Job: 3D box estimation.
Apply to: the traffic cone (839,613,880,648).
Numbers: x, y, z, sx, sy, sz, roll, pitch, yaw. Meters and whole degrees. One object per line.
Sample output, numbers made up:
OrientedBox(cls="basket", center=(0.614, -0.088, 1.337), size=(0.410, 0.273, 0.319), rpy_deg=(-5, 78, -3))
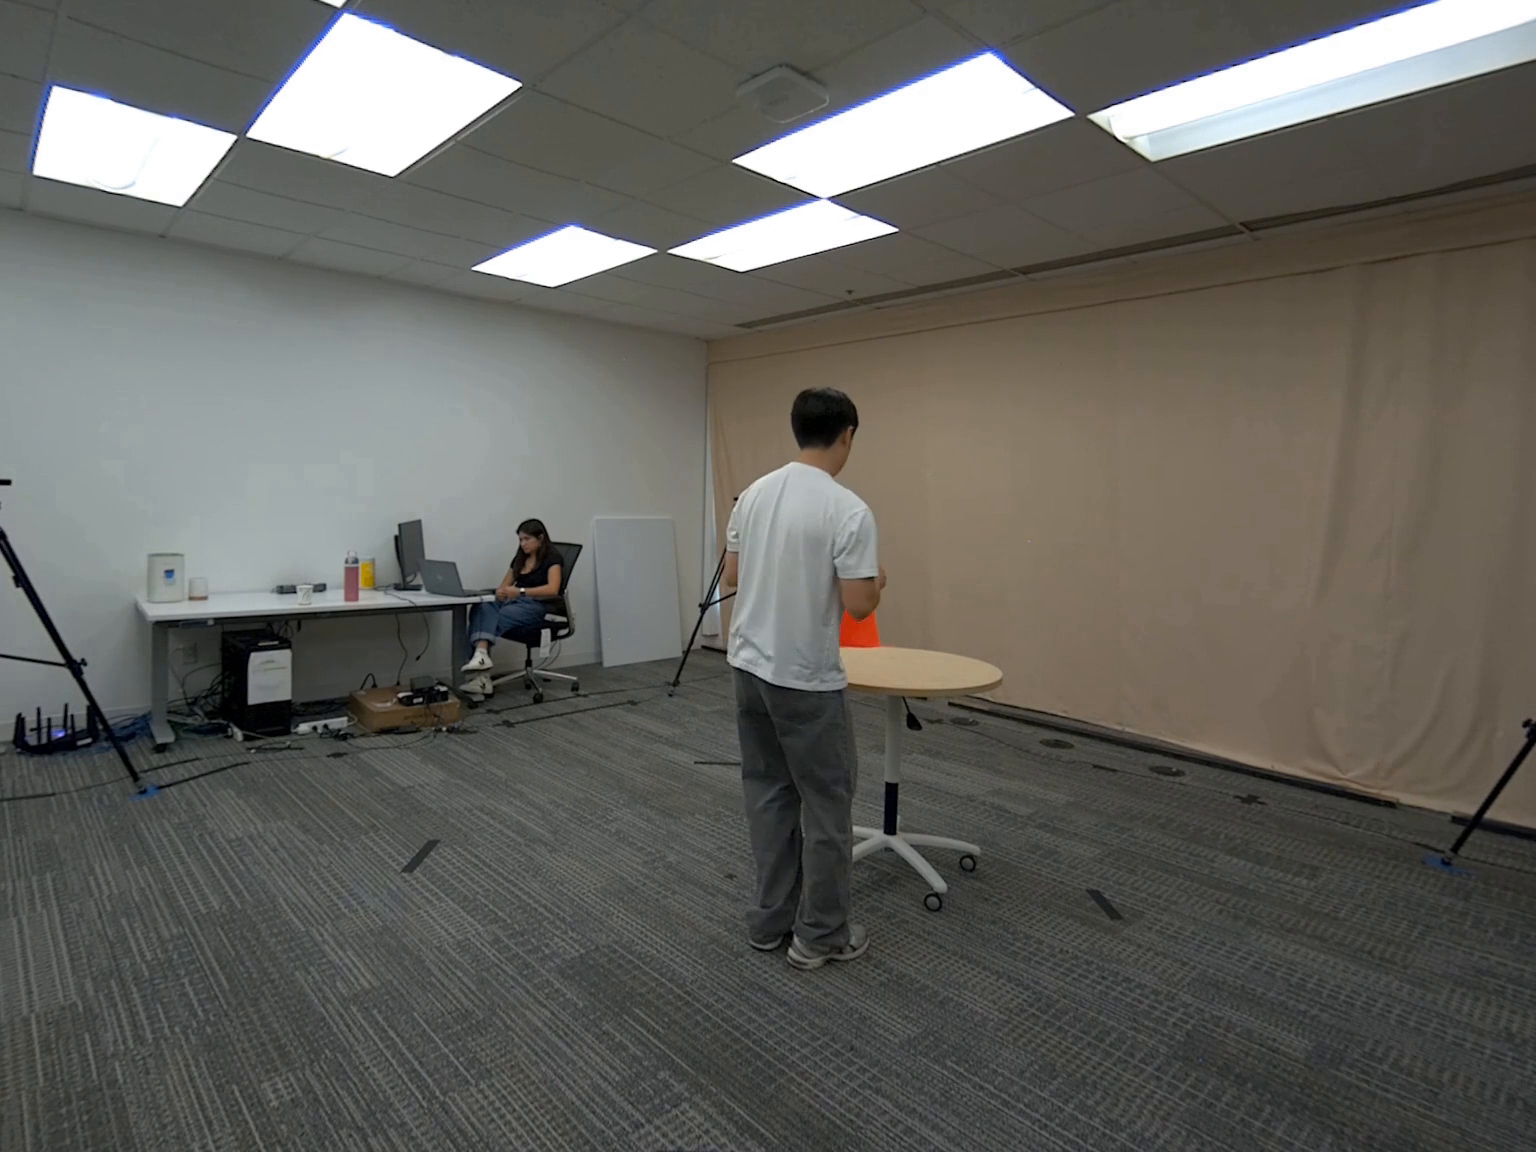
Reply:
OrientedBox(cls="traffic cone", center=(0.273, 0.037, 2.750), size=(0.207, 0.383, 0.201), rpy_deg=(1, 0, 13))
